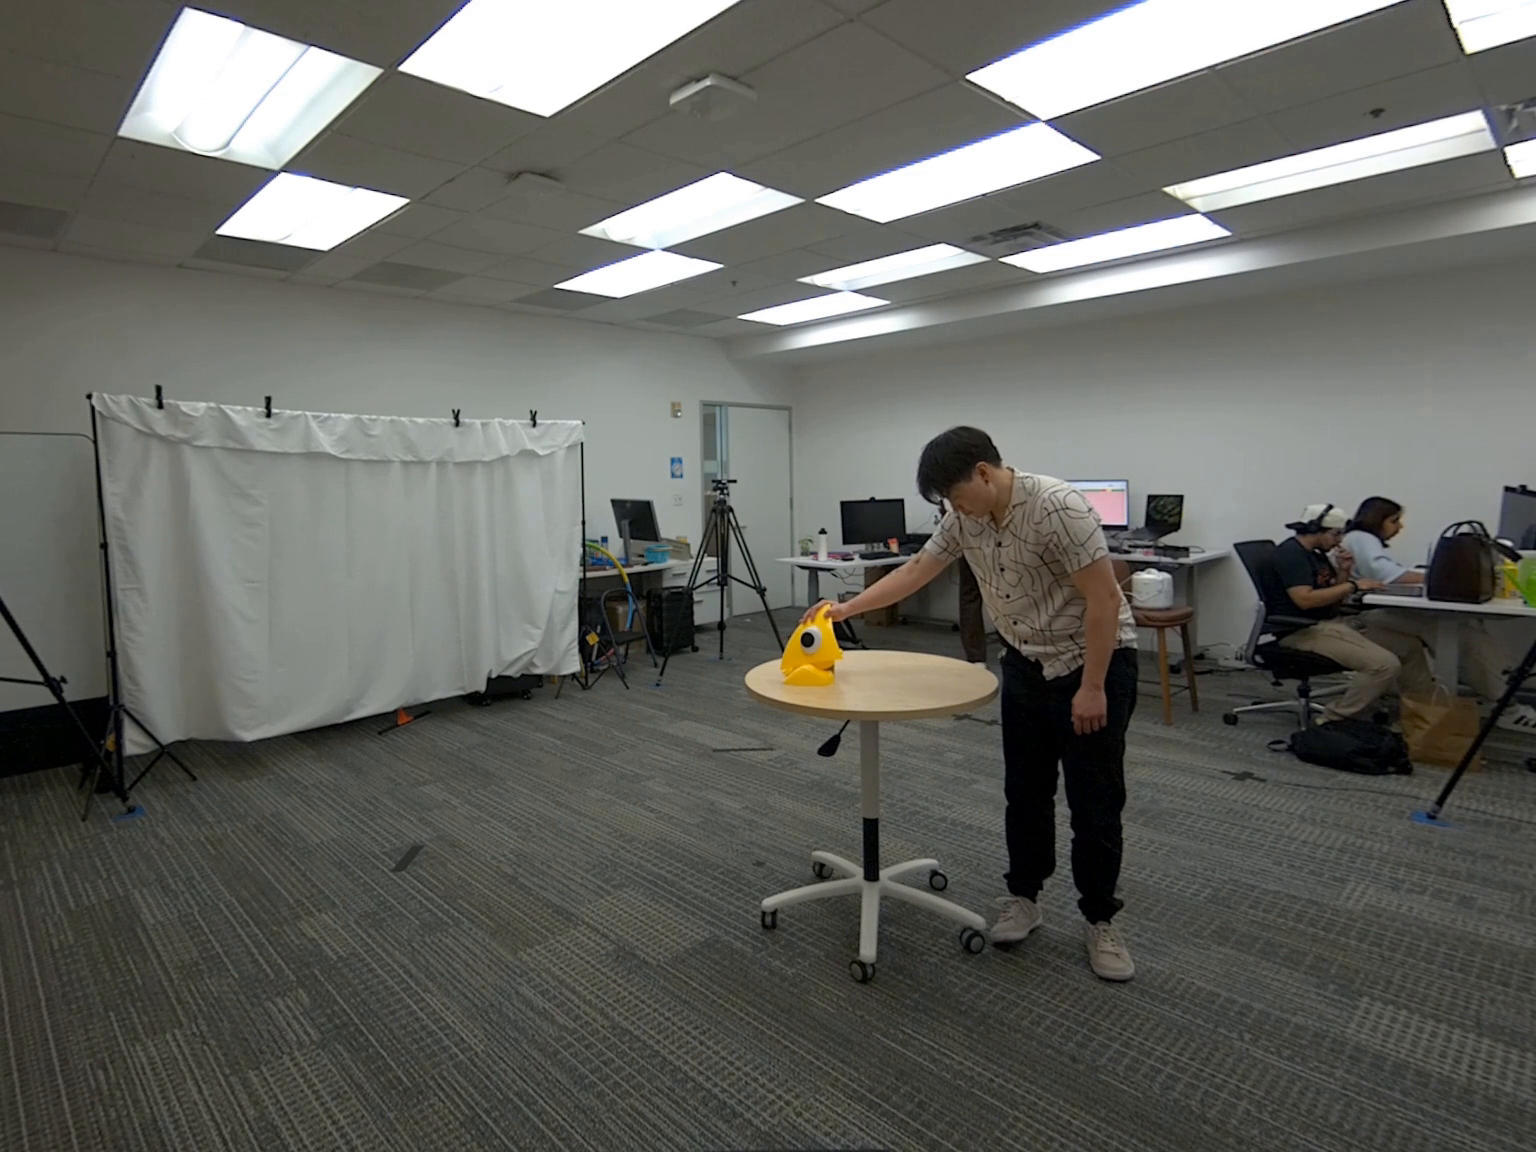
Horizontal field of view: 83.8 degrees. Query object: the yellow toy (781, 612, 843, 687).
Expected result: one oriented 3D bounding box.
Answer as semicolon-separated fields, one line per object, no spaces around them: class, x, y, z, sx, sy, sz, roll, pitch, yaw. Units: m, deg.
yellow toy;0.135;0.201;2.641;0.193;0.229;0.205;-1;5;1
